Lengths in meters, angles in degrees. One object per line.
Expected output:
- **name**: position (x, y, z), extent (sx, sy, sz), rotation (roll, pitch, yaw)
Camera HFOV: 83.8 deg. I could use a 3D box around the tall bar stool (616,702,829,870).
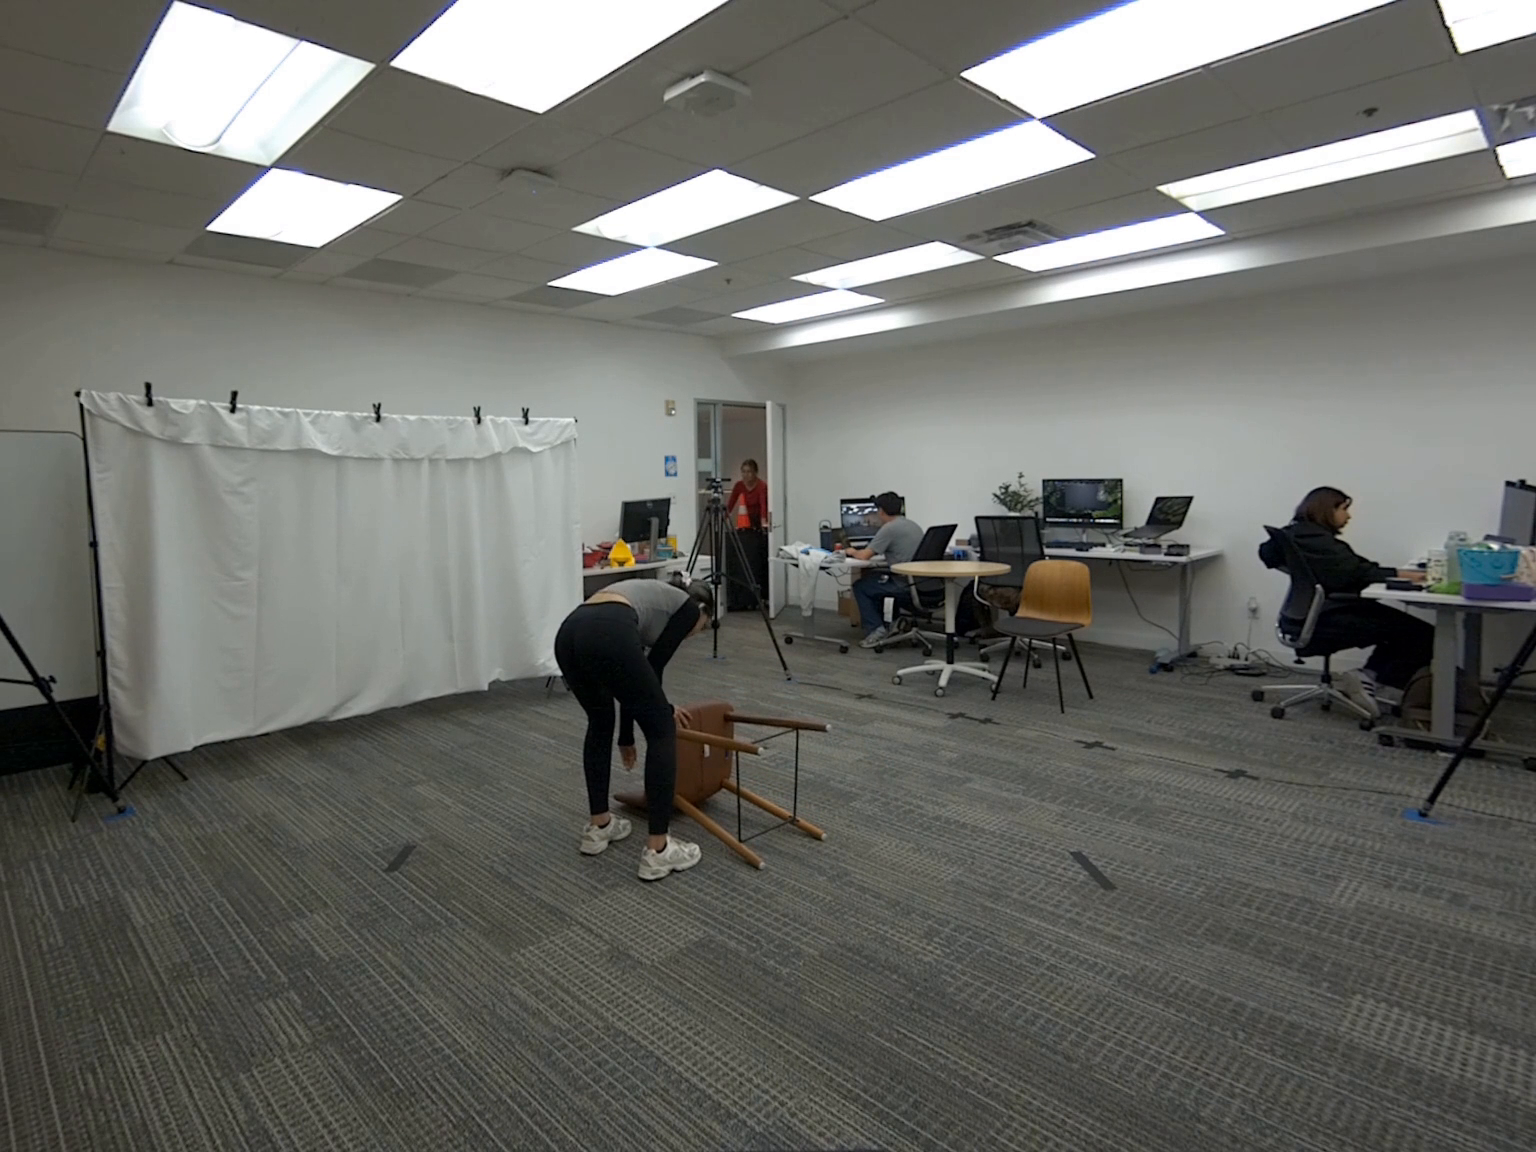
- **tall bar stool**: position (-0.215, 0.776, 3.467), extent (0.917, 0.466, 0.444), rotation (4, 7, 44)
